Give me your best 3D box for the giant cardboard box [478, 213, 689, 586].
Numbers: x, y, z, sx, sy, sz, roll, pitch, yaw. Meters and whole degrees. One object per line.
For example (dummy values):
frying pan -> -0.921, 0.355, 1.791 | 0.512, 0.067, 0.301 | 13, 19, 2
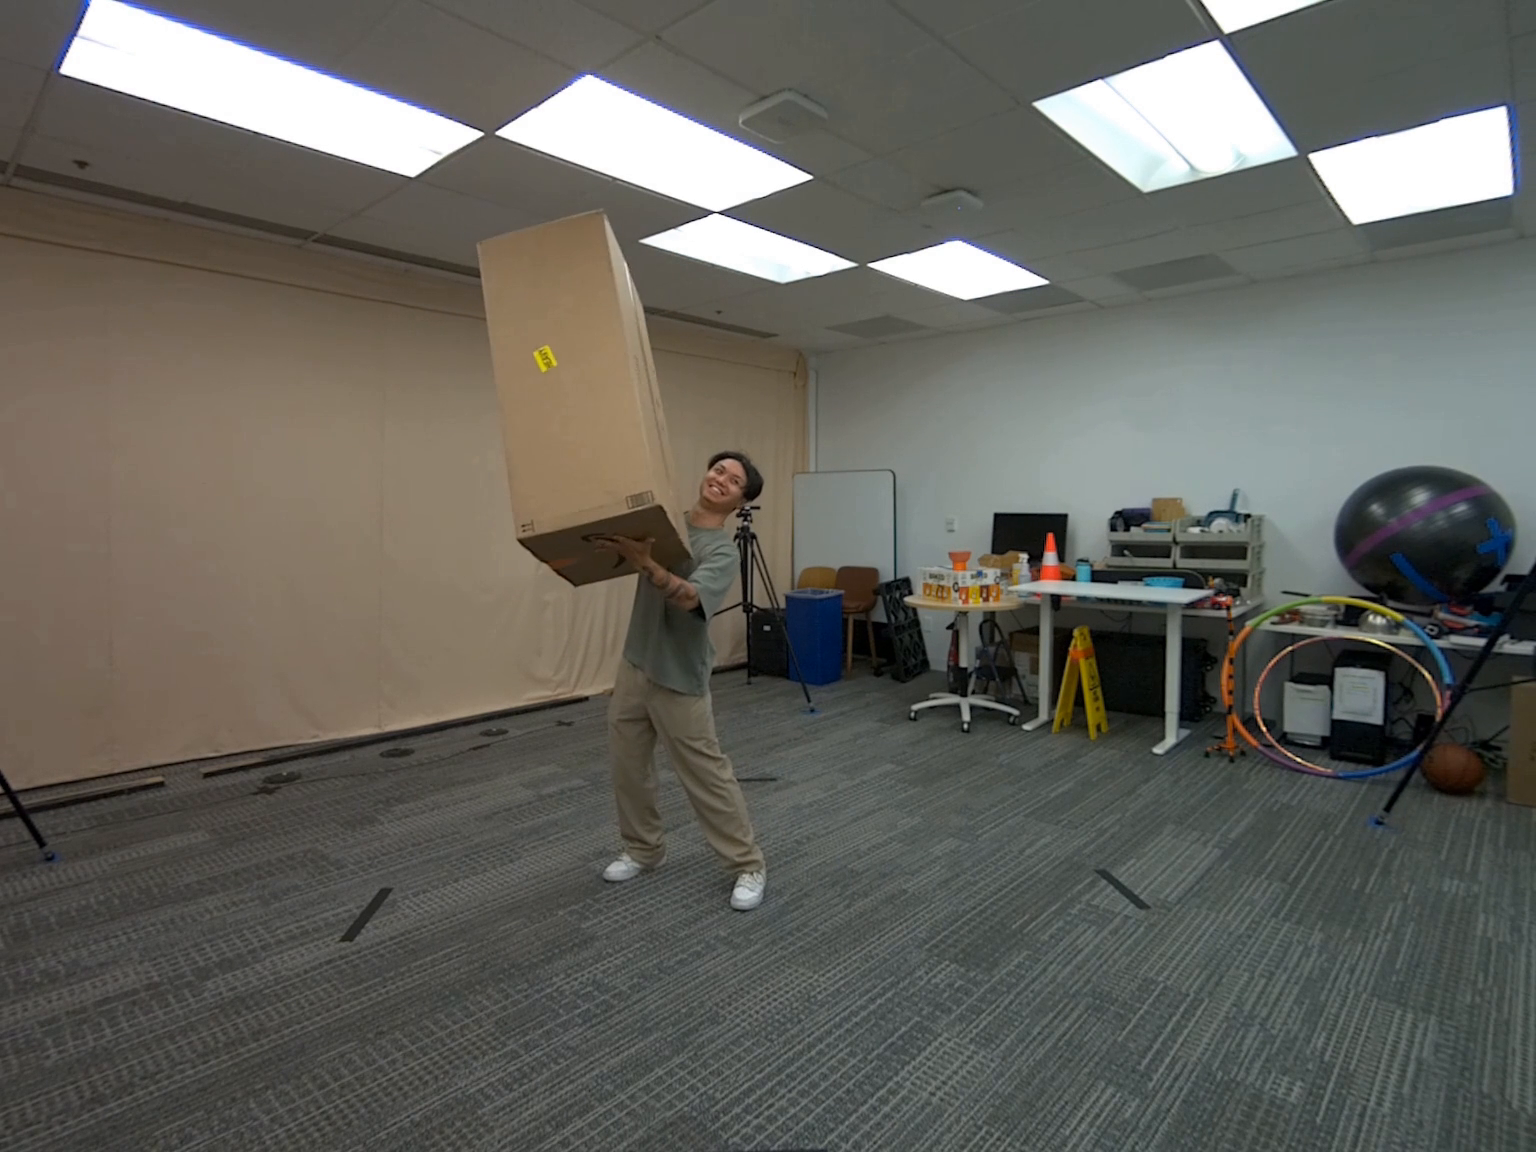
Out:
giant cardboard box -> -0.592, -0.551, 2.777 | 0.428, 1.040, 0.567 | -13, -17, 3
